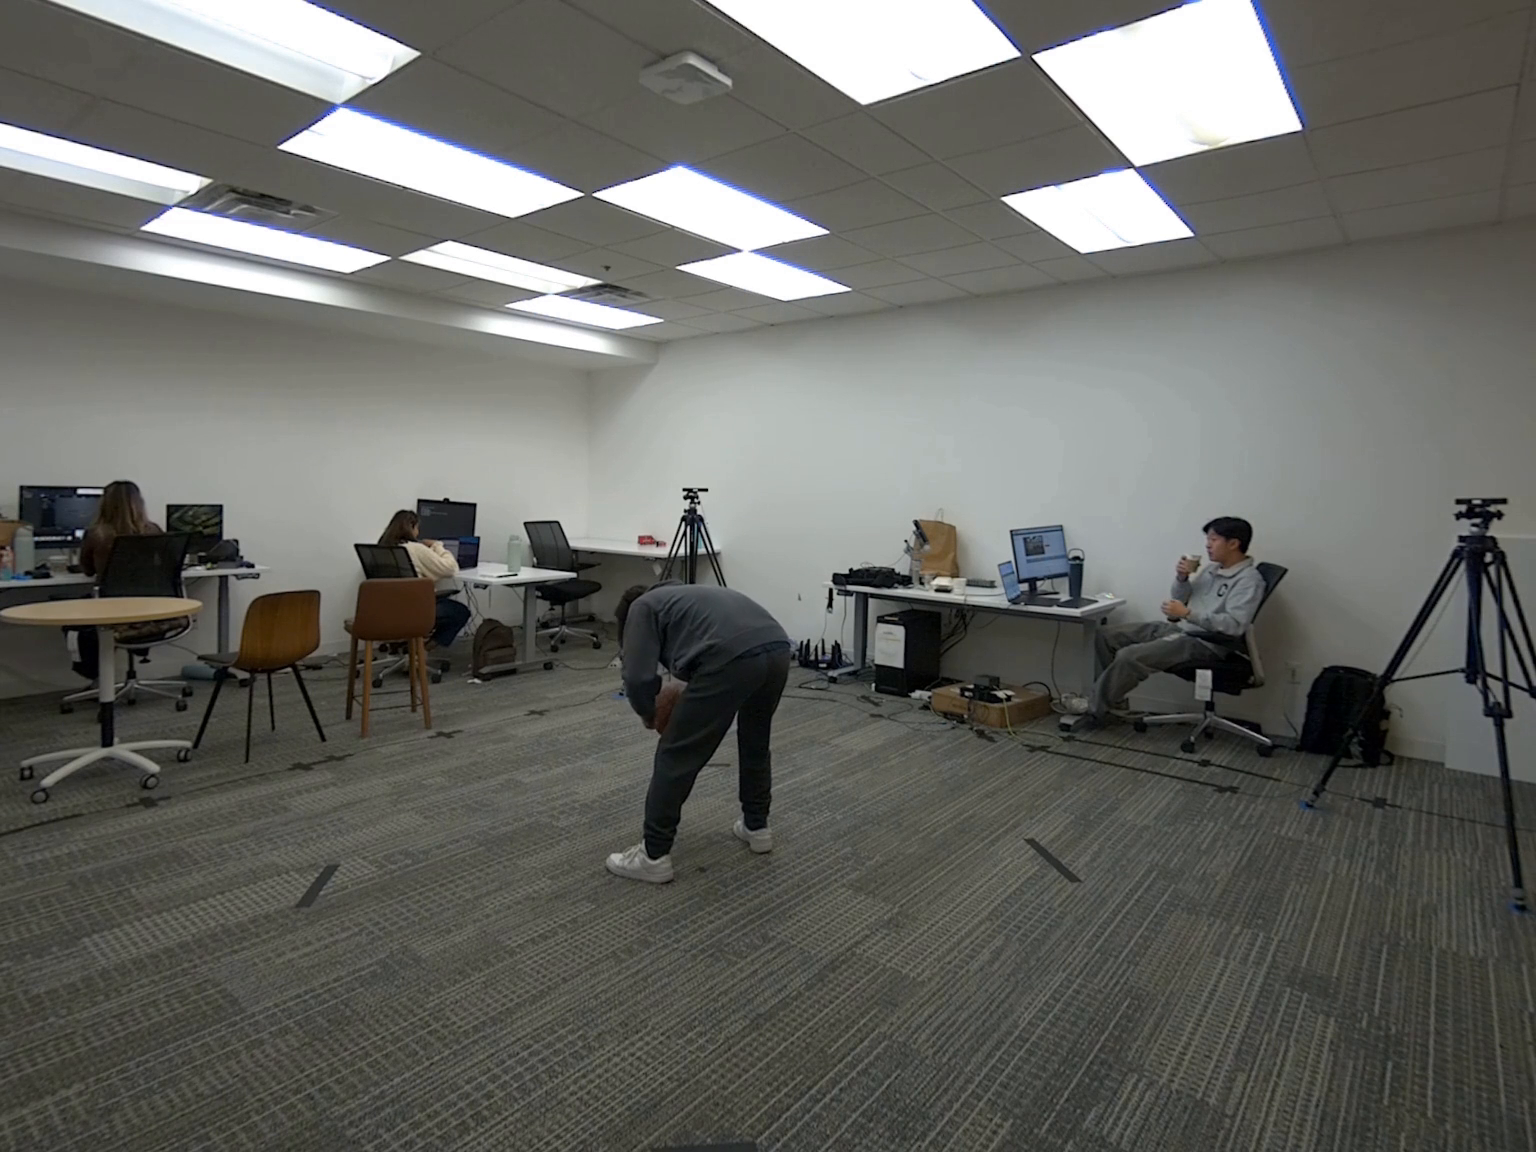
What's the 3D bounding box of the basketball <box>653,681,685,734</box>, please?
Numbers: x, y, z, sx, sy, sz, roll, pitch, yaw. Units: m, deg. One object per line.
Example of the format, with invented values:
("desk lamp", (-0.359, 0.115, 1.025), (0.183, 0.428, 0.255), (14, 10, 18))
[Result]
("basketball", (-0.379, 0.563, 3.506), (0.235, 0.235, 0.237), (1, 4, -2))
